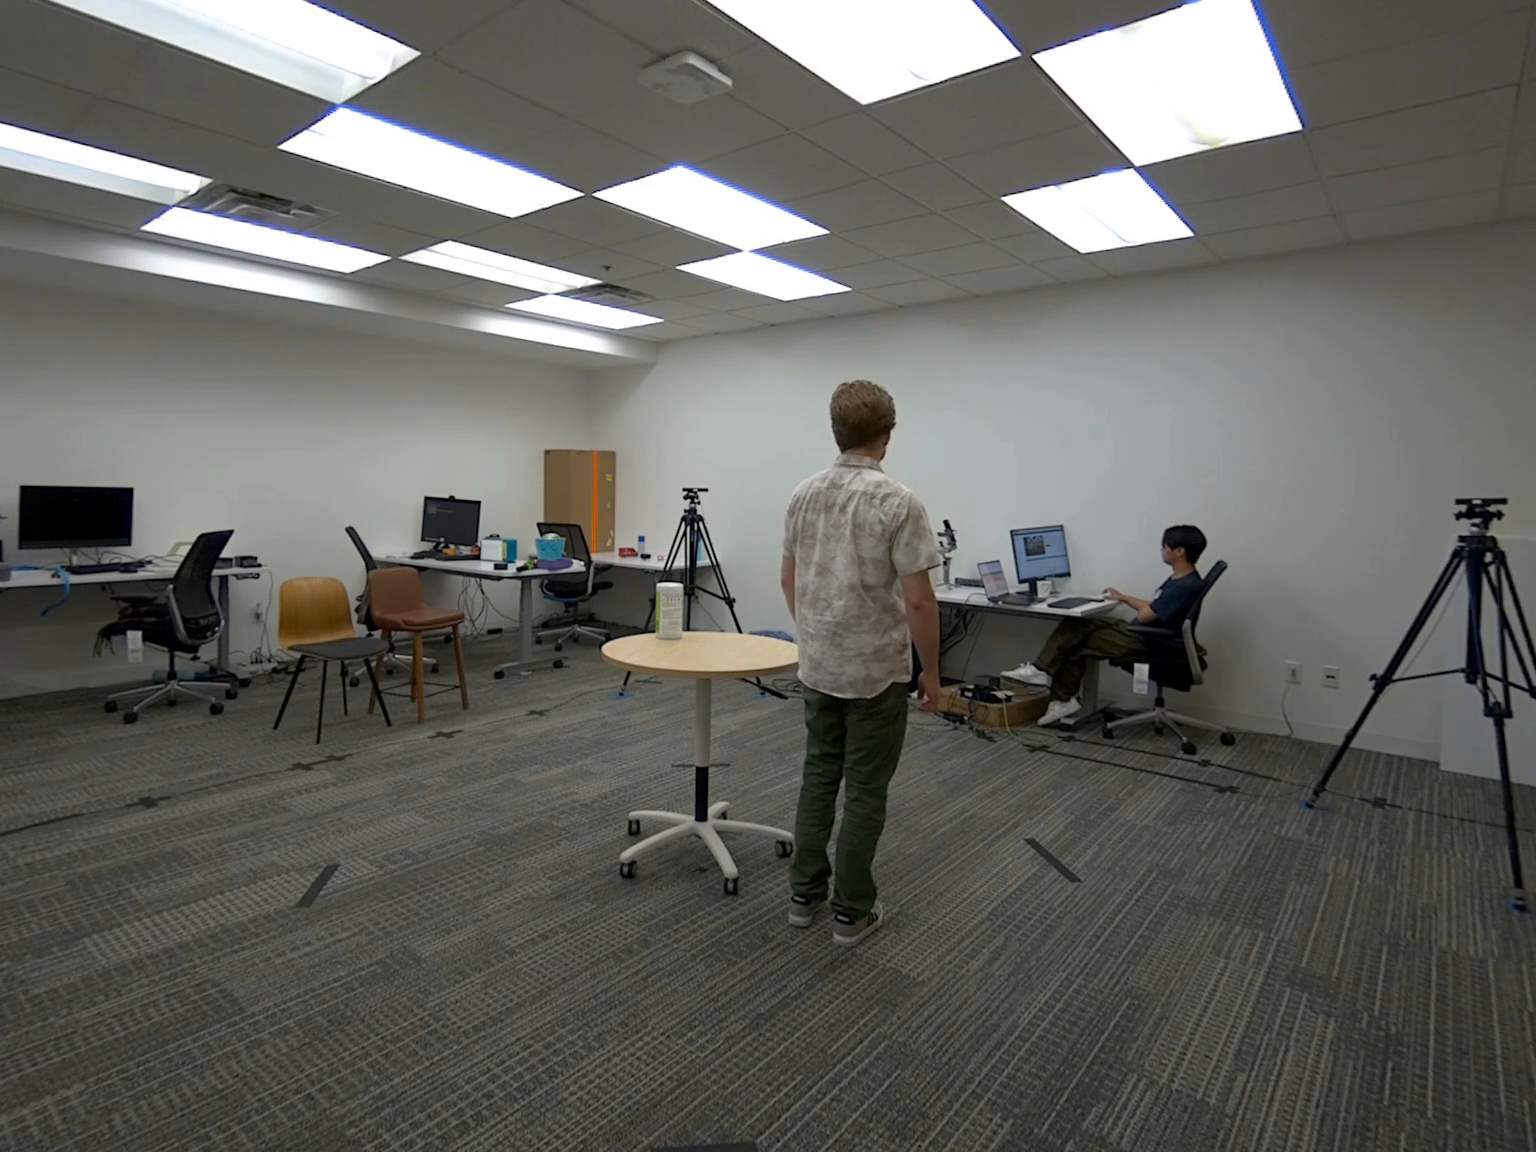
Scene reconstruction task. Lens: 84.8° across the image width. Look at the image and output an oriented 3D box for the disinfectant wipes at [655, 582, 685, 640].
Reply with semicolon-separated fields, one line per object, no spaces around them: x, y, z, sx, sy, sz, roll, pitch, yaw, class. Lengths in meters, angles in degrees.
-0.404;0.136;3.406;0.118;0.217;0.118;-1;4;-2;disinfectant wipes
